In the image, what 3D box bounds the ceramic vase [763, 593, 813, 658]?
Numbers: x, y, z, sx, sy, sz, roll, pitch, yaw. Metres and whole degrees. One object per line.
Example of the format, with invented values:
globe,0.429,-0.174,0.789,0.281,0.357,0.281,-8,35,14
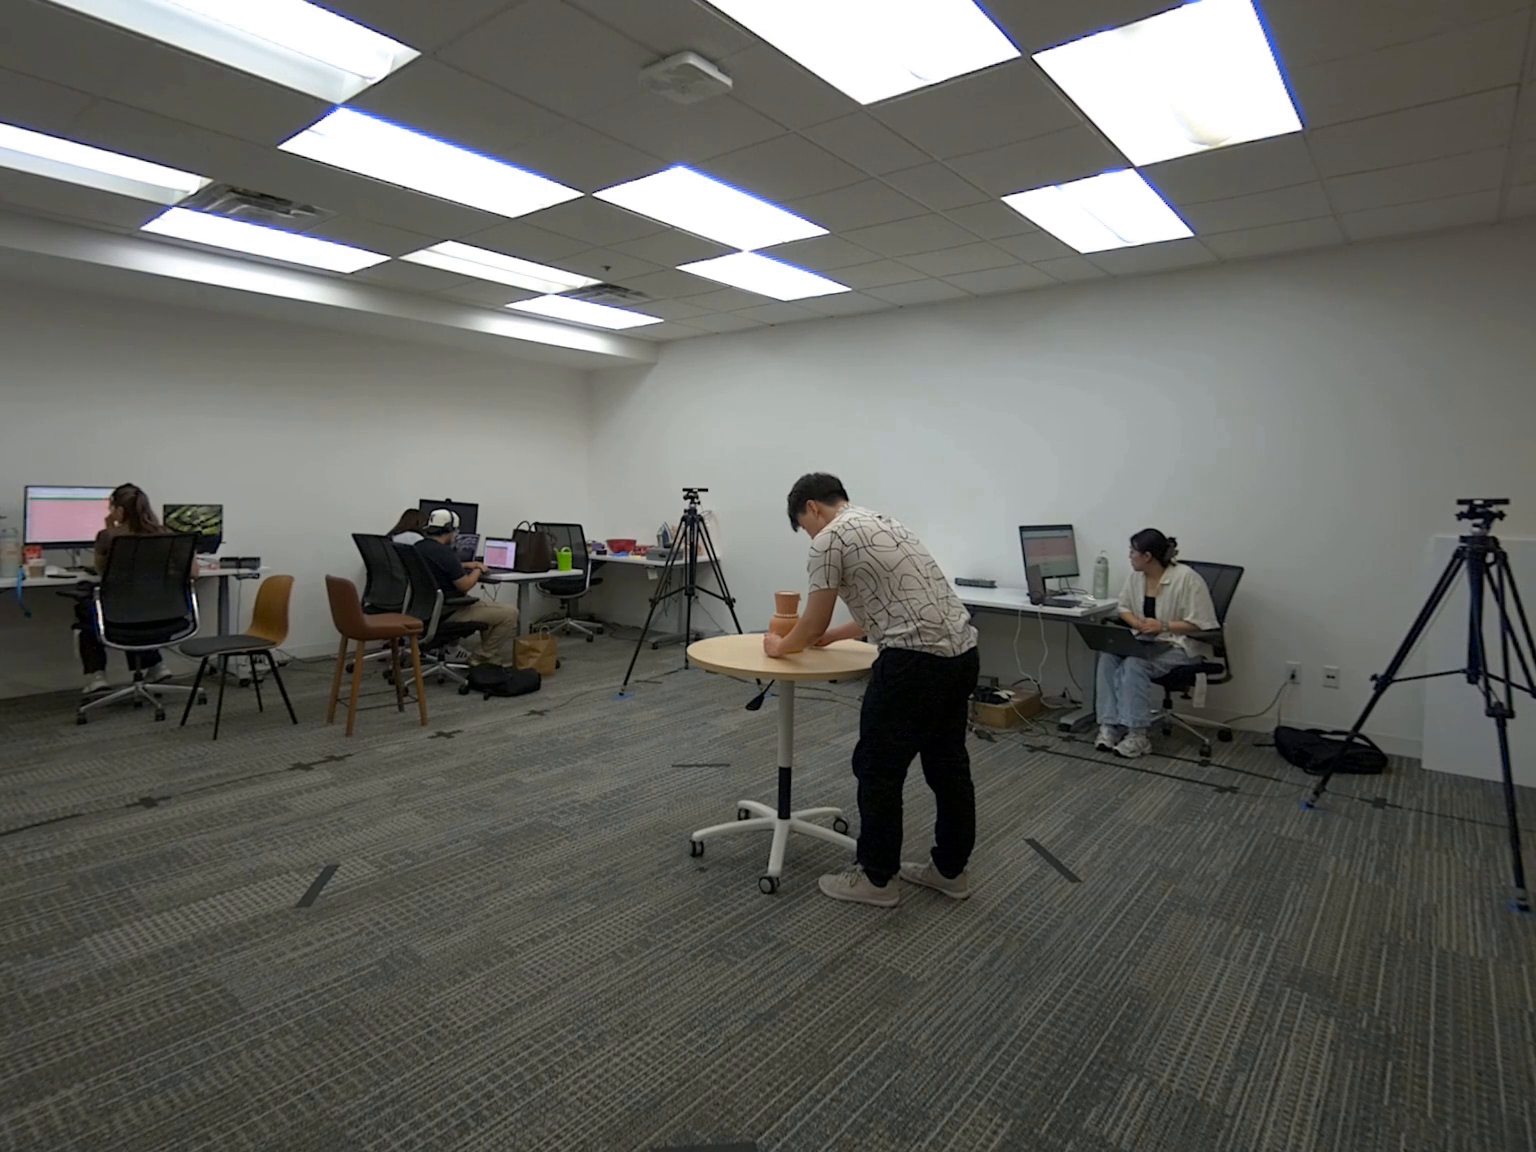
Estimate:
ceramic vase,0.067,0.171,3.229,0.135,0.219,0.159,3,5,2
